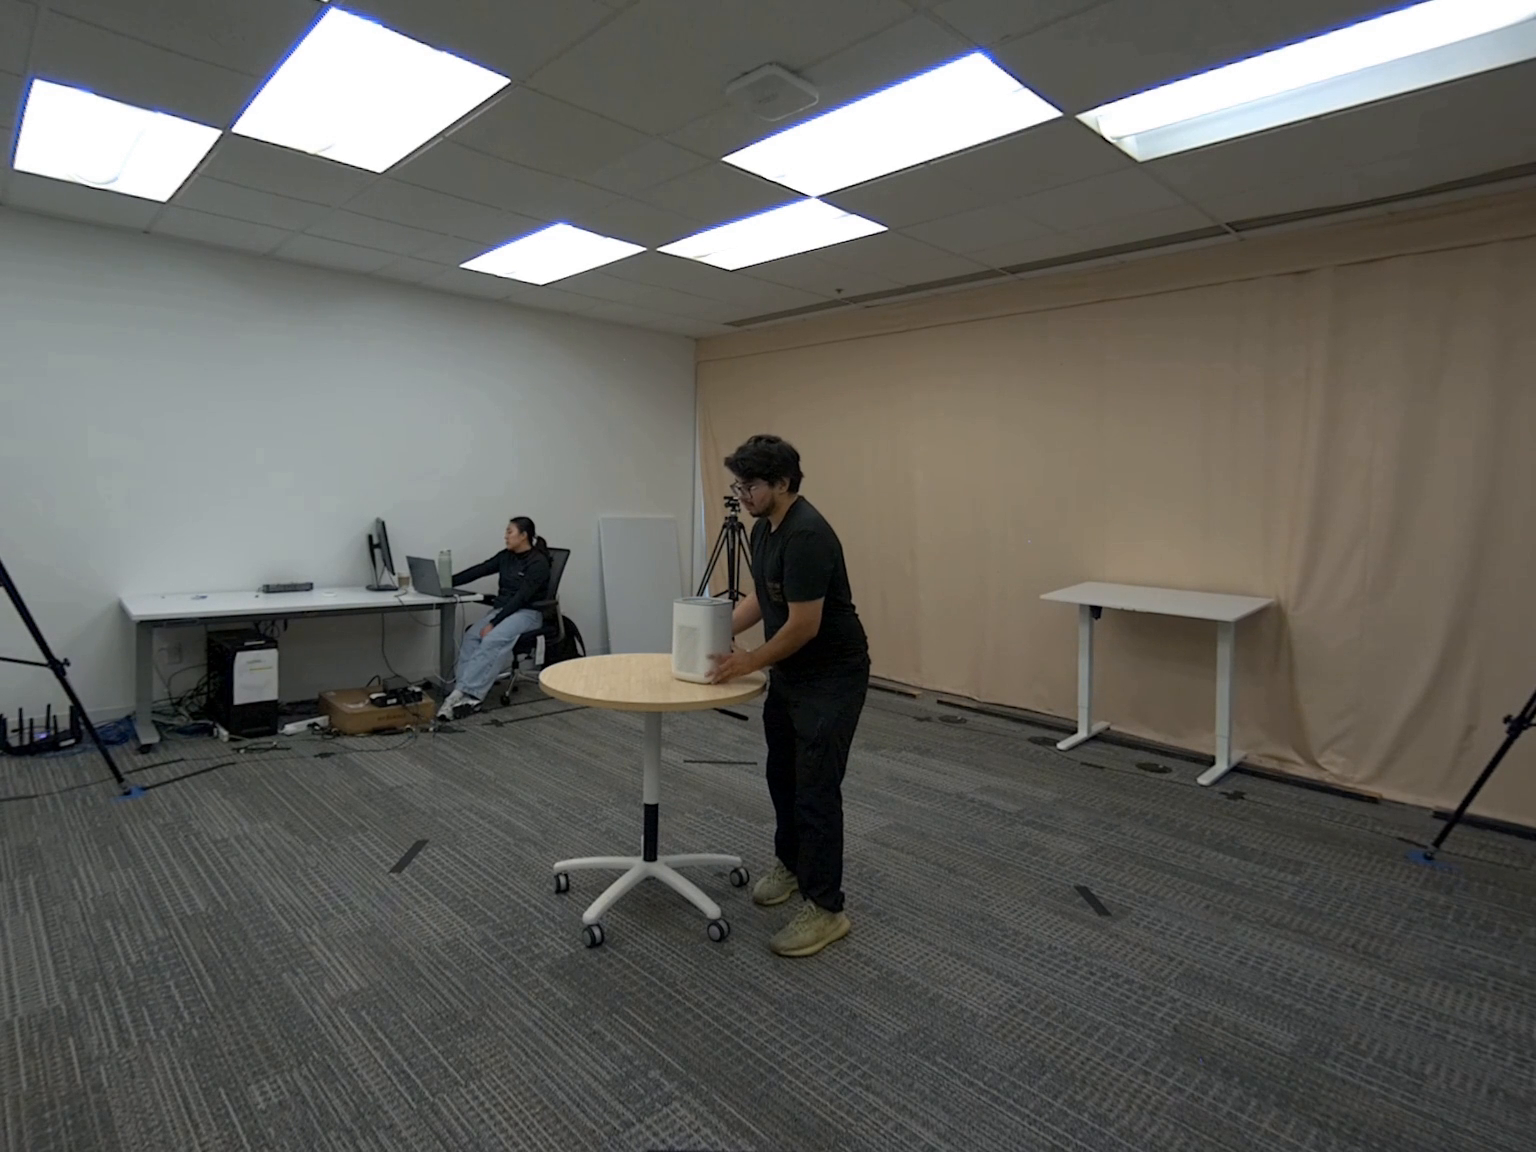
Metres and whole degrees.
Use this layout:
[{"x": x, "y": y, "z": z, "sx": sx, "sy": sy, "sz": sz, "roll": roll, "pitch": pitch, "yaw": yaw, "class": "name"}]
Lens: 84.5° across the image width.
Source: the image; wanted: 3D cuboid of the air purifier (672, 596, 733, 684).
[{"x": -0.215, "y": 0.213, "z": 2.811, "sx": 0.175, "sy": 0.264, "sz": 0.168, "roll": 4, "pitch": 5, "yaw": 27, "class": "air purifier"}]
